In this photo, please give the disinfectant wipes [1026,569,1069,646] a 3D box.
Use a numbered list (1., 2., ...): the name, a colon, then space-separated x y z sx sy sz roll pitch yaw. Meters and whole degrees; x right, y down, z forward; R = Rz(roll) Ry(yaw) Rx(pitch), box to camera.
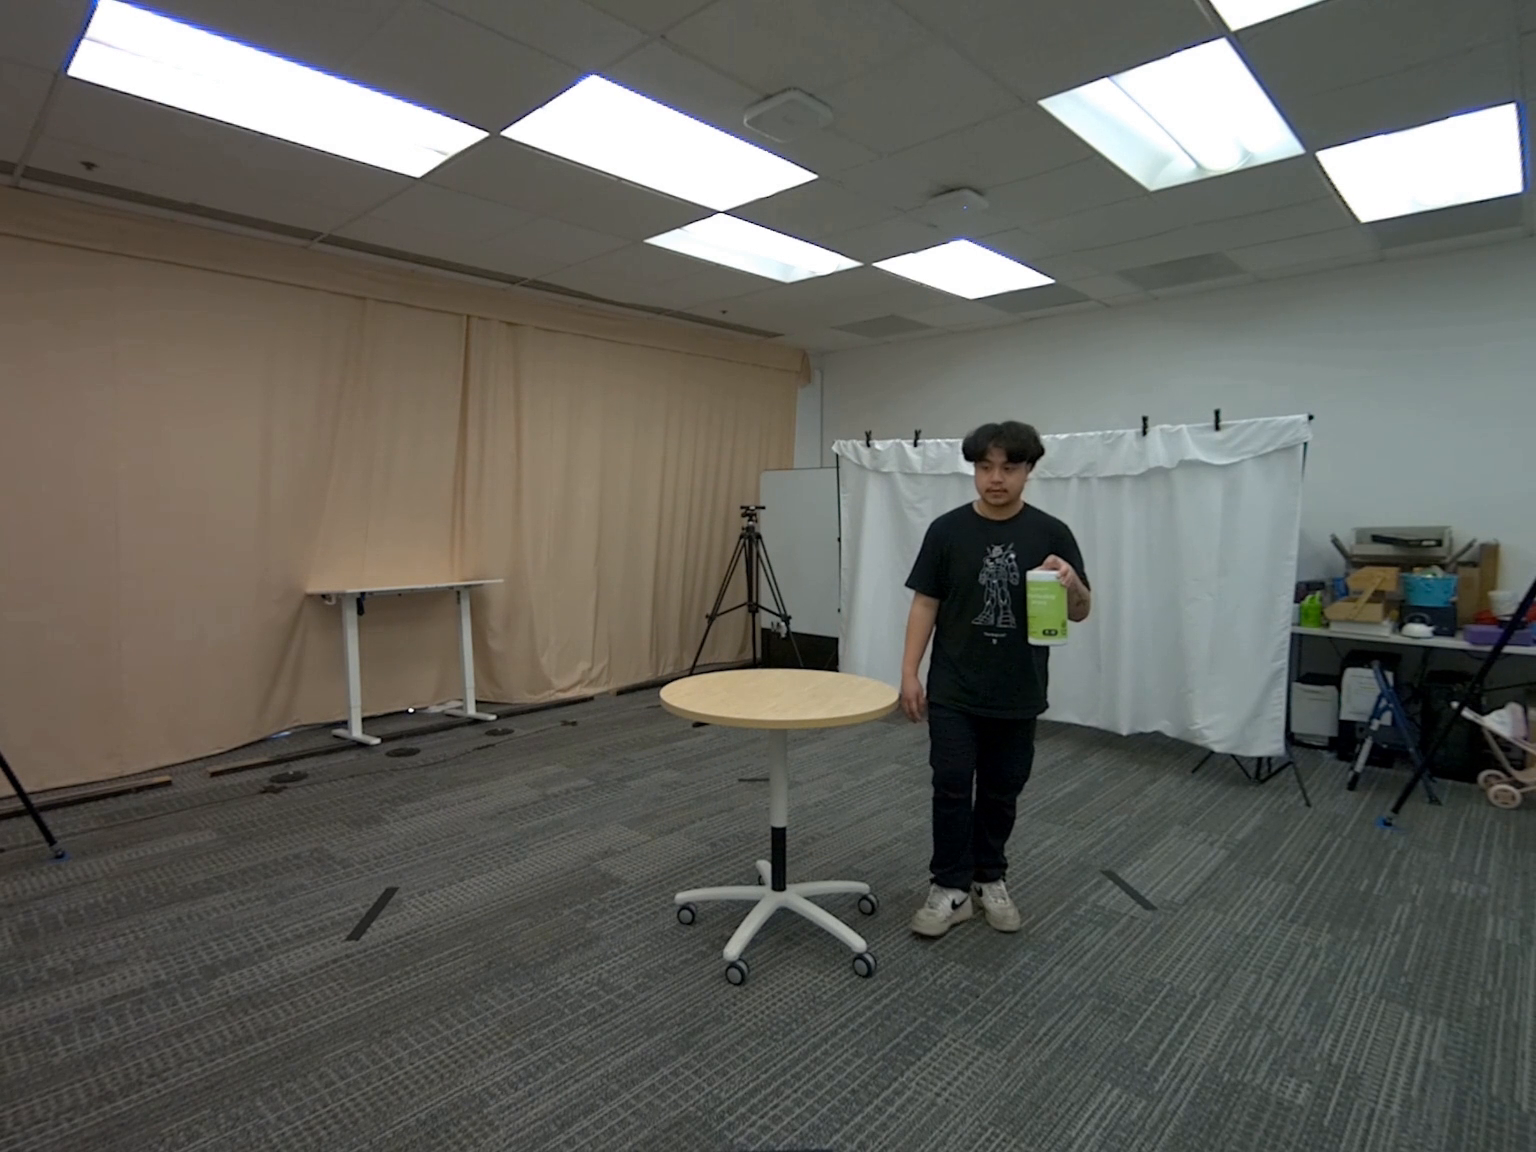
1. disinfectant wipes: 0.826 0.092 2.469 0.118 0.217 0.118 -3 2 -2
